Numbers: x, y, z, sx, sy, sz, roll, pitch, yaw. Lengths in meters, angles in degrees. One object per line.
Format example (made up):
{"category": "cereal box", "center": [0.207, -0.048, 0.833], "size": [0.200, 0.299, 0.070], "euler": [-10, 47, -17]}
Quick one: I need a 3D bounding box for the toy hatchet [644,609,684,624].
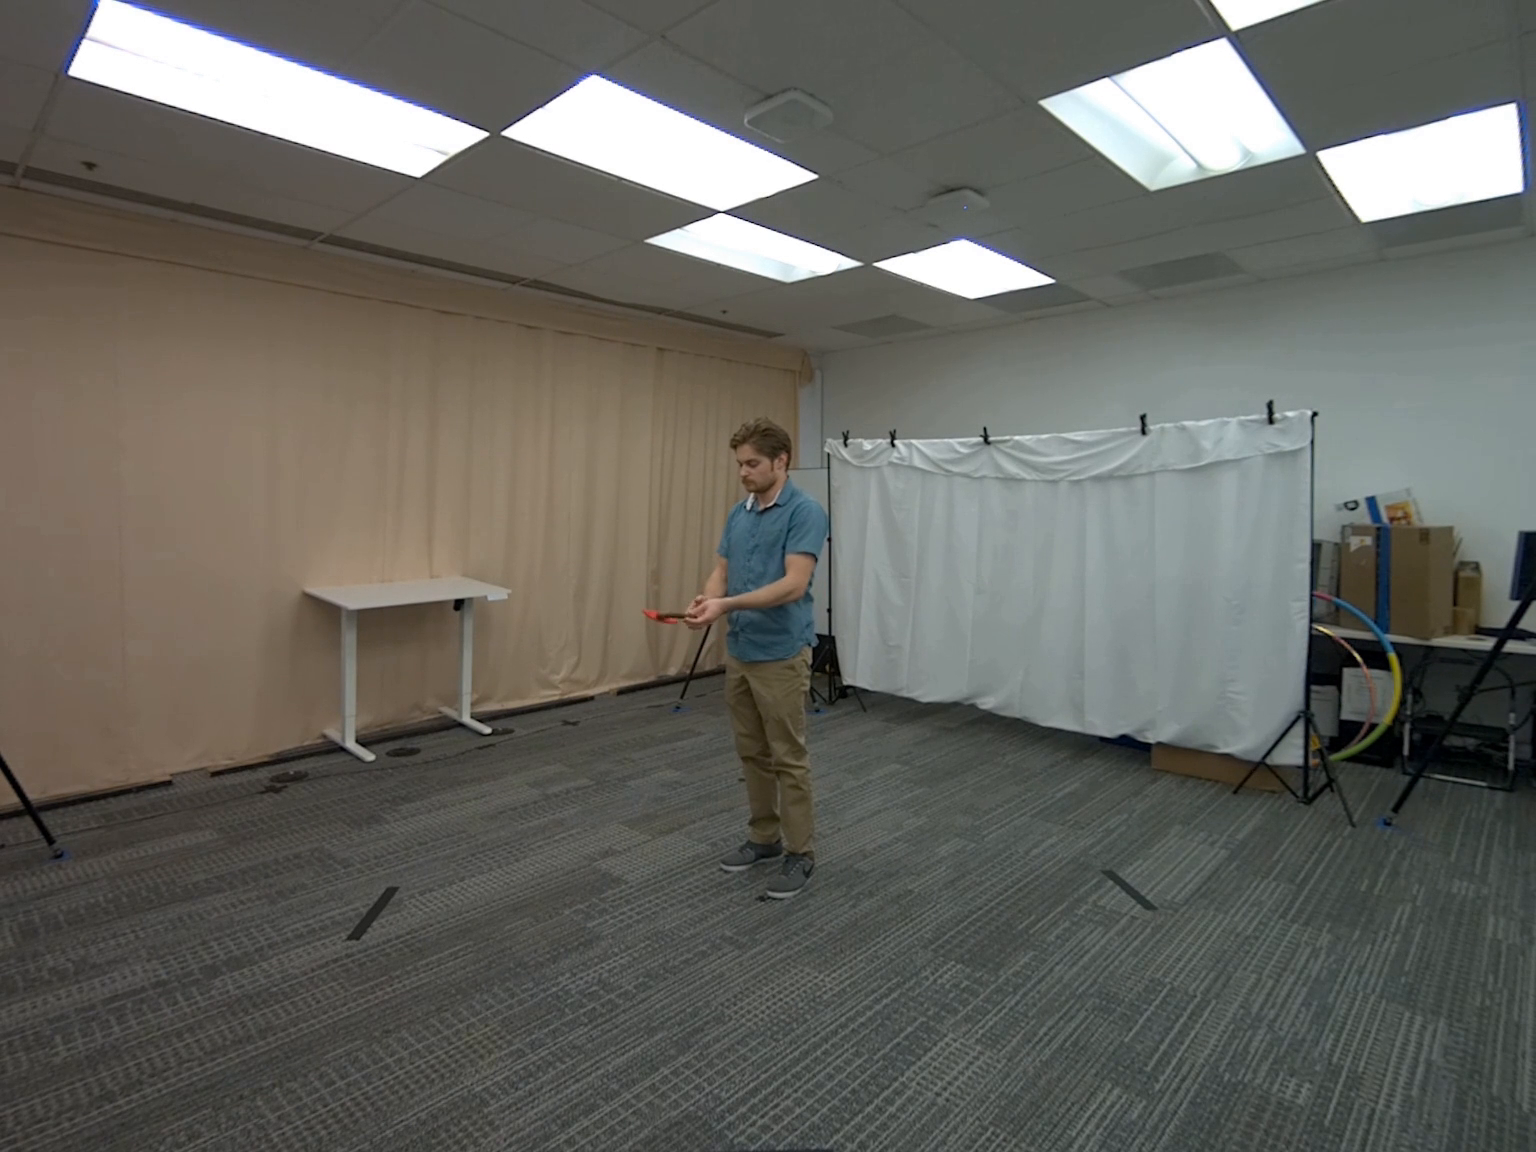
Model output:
{"category": "toy hatchet", "center": [-0.305, 0.153, 2.941], "size": [0.279, 0.030, 0.126], "euler": [3, -20, 46]}
